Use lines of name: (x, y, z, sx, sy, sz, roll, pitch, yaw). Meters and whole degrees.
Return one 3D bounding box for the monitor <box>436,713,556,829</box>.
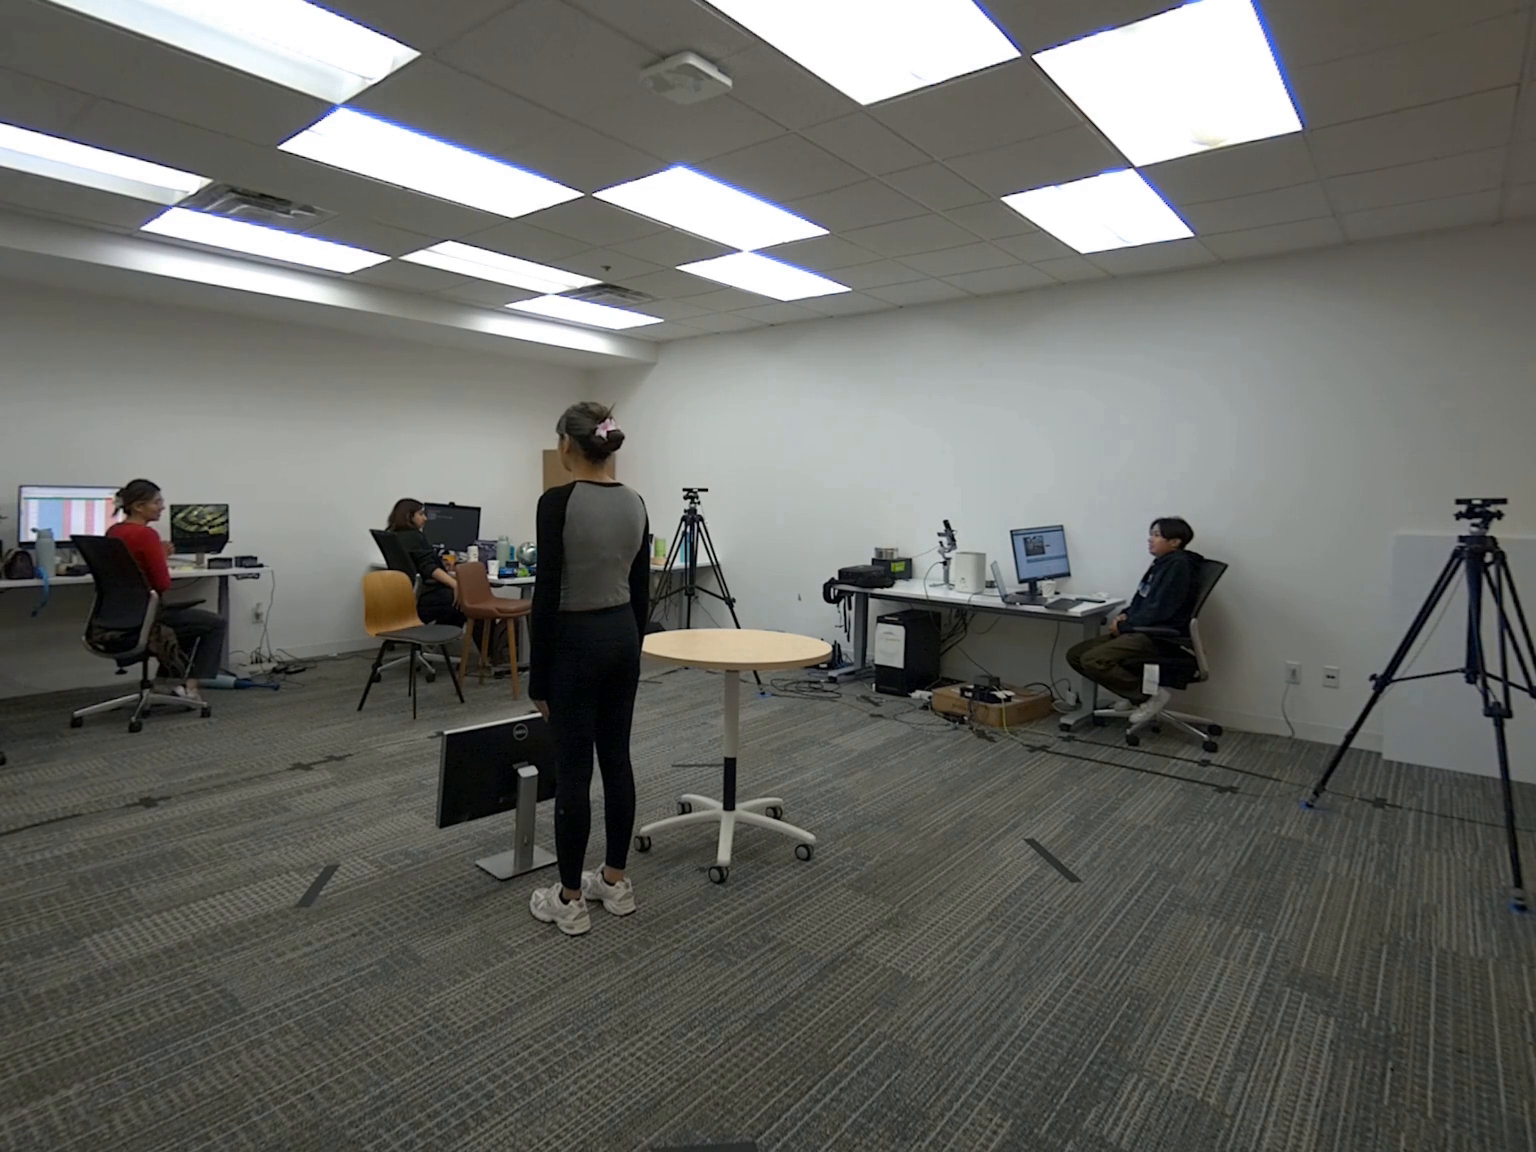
monitor: (-0.935, 0.794, 3.116, 0.193, 0.522, 0.523, 0, 3, 45)
